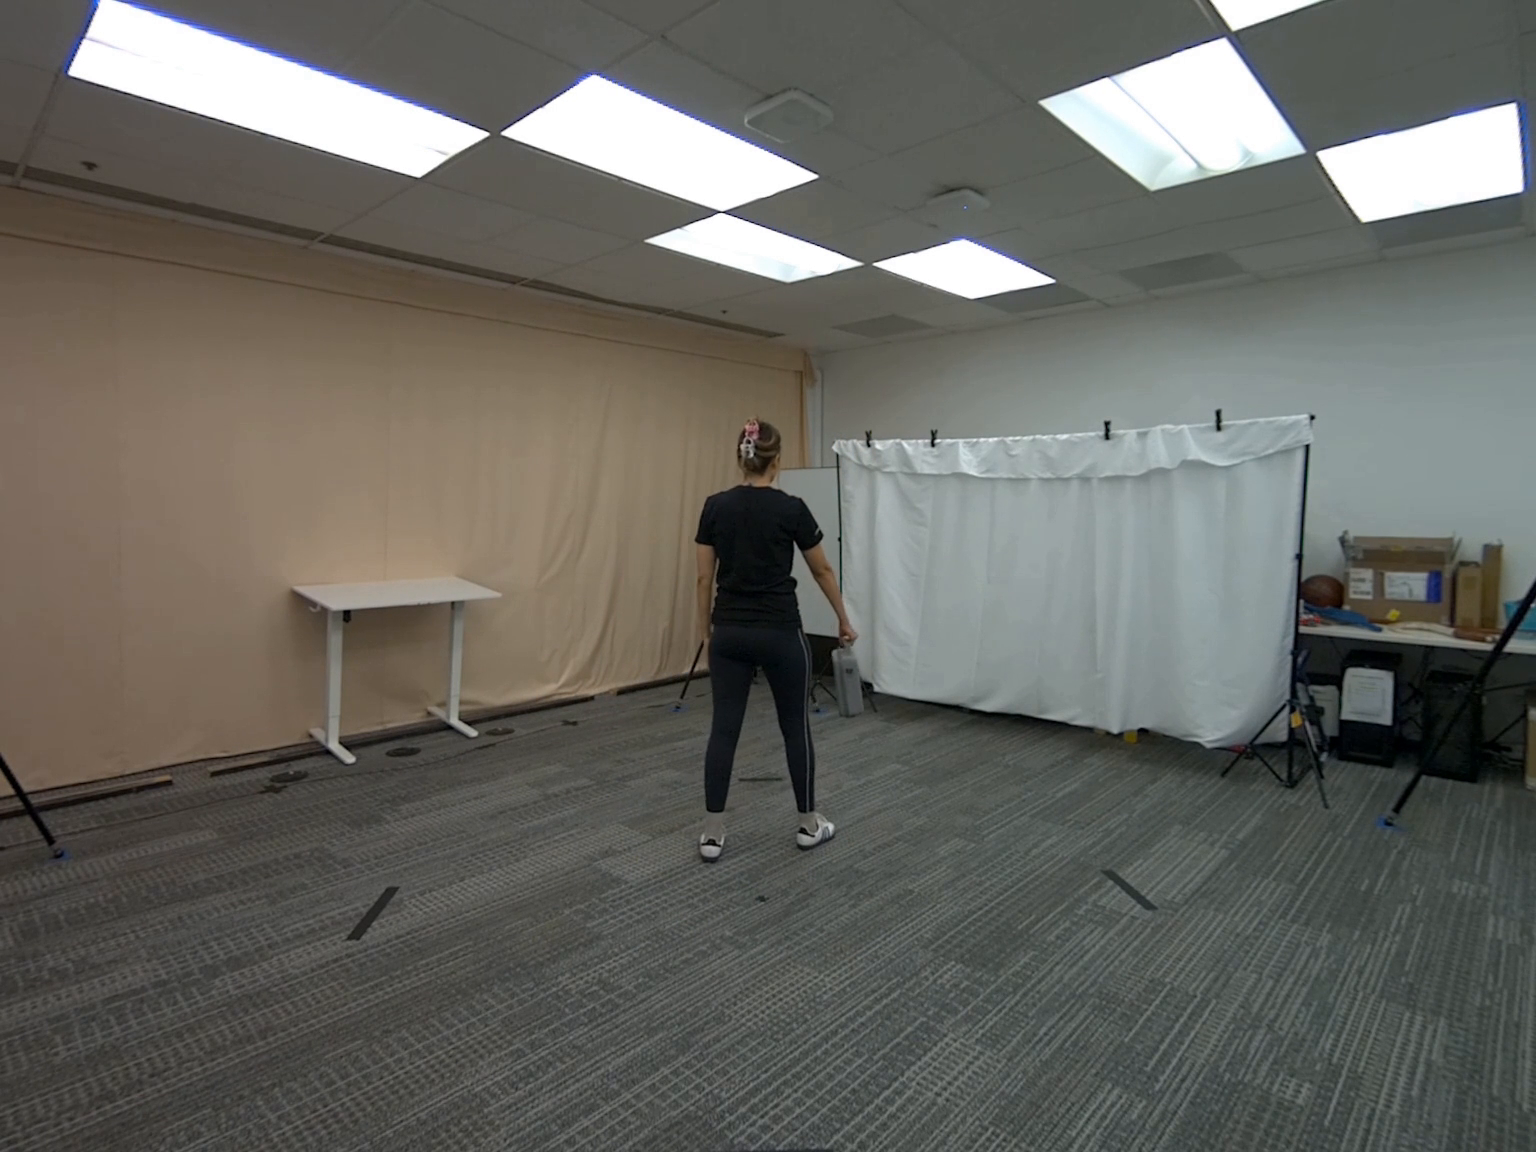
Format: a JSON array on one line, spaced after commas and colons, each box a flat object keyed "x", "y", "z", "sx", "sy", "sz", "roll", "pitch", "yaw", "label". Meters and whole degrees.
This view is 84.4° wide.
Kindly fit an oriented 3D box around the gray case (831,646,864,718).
[{"x": 0.335, "y": 0.439, "z": 3.563, "sx": 0.105, "sy": 0.260, "sz": 0.256, "roll": -4, "pitch": 6, "yaw": 4, "label": "gray case"}]
